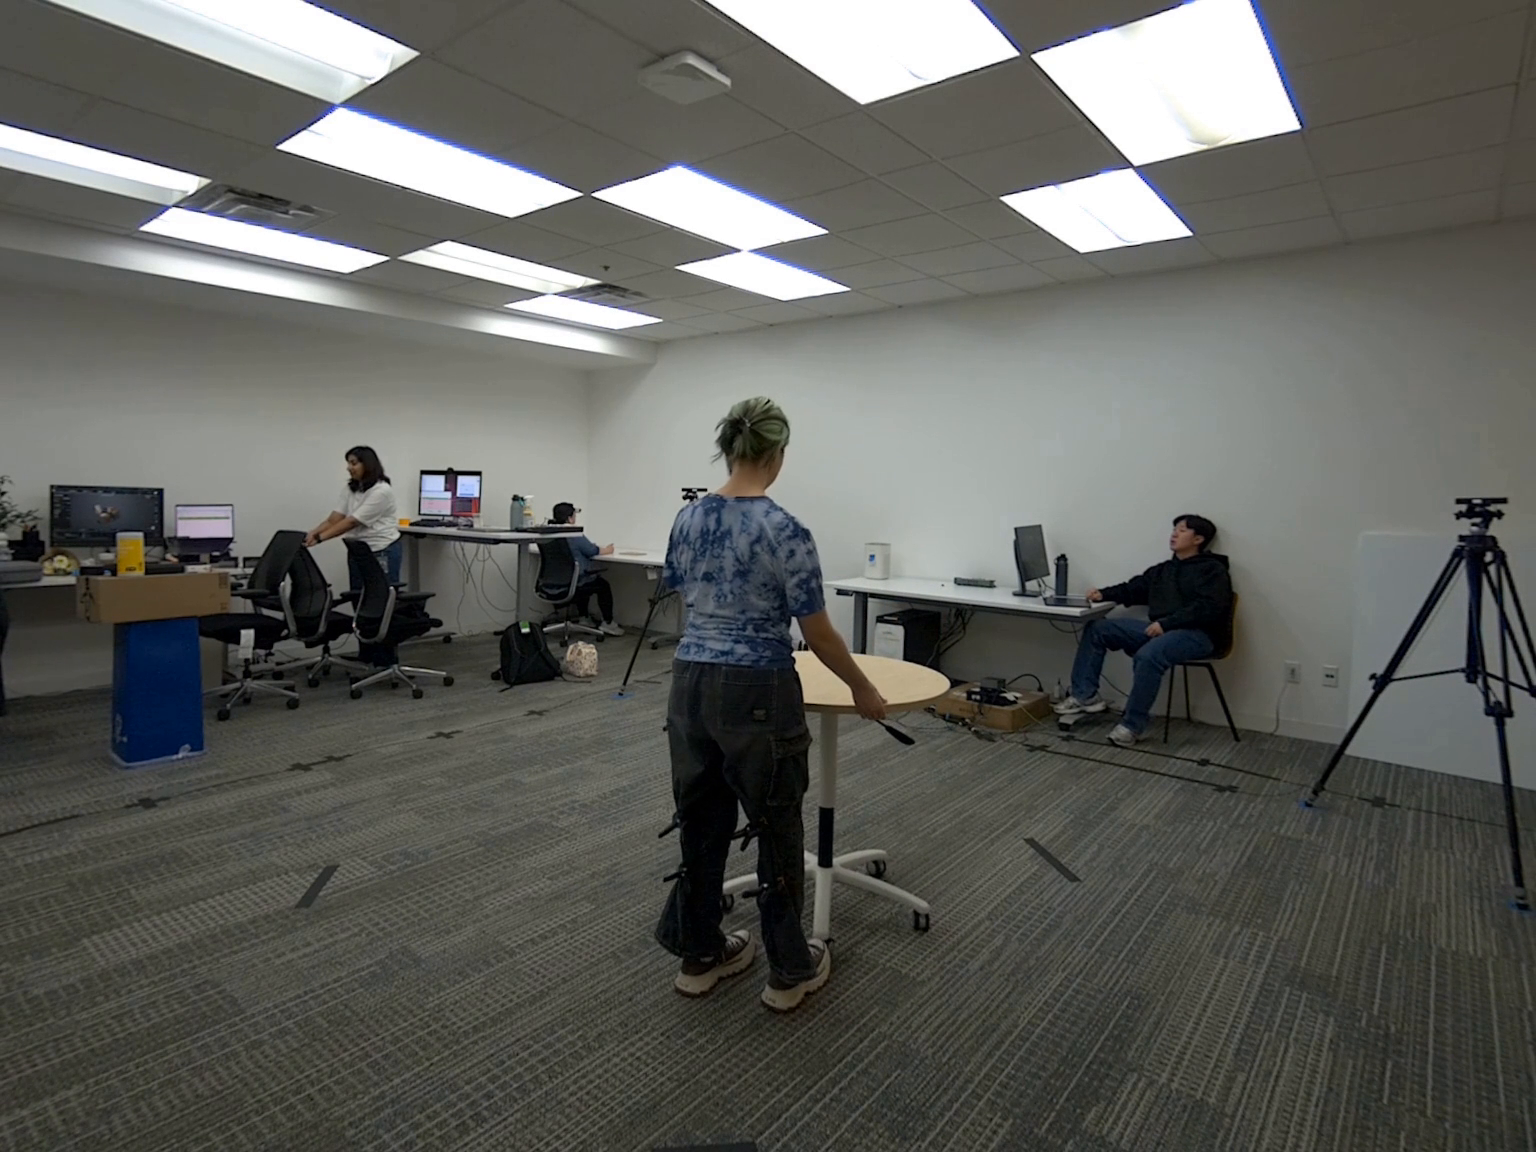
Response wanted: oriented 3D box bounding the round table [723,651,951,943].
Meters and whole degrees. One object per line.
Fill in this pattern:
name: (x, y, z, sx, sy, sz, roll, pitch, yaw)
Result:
round table: (0.186, 0.717, 2.841, 0.763, 0.791, 0.768, 1, 5, -2)
